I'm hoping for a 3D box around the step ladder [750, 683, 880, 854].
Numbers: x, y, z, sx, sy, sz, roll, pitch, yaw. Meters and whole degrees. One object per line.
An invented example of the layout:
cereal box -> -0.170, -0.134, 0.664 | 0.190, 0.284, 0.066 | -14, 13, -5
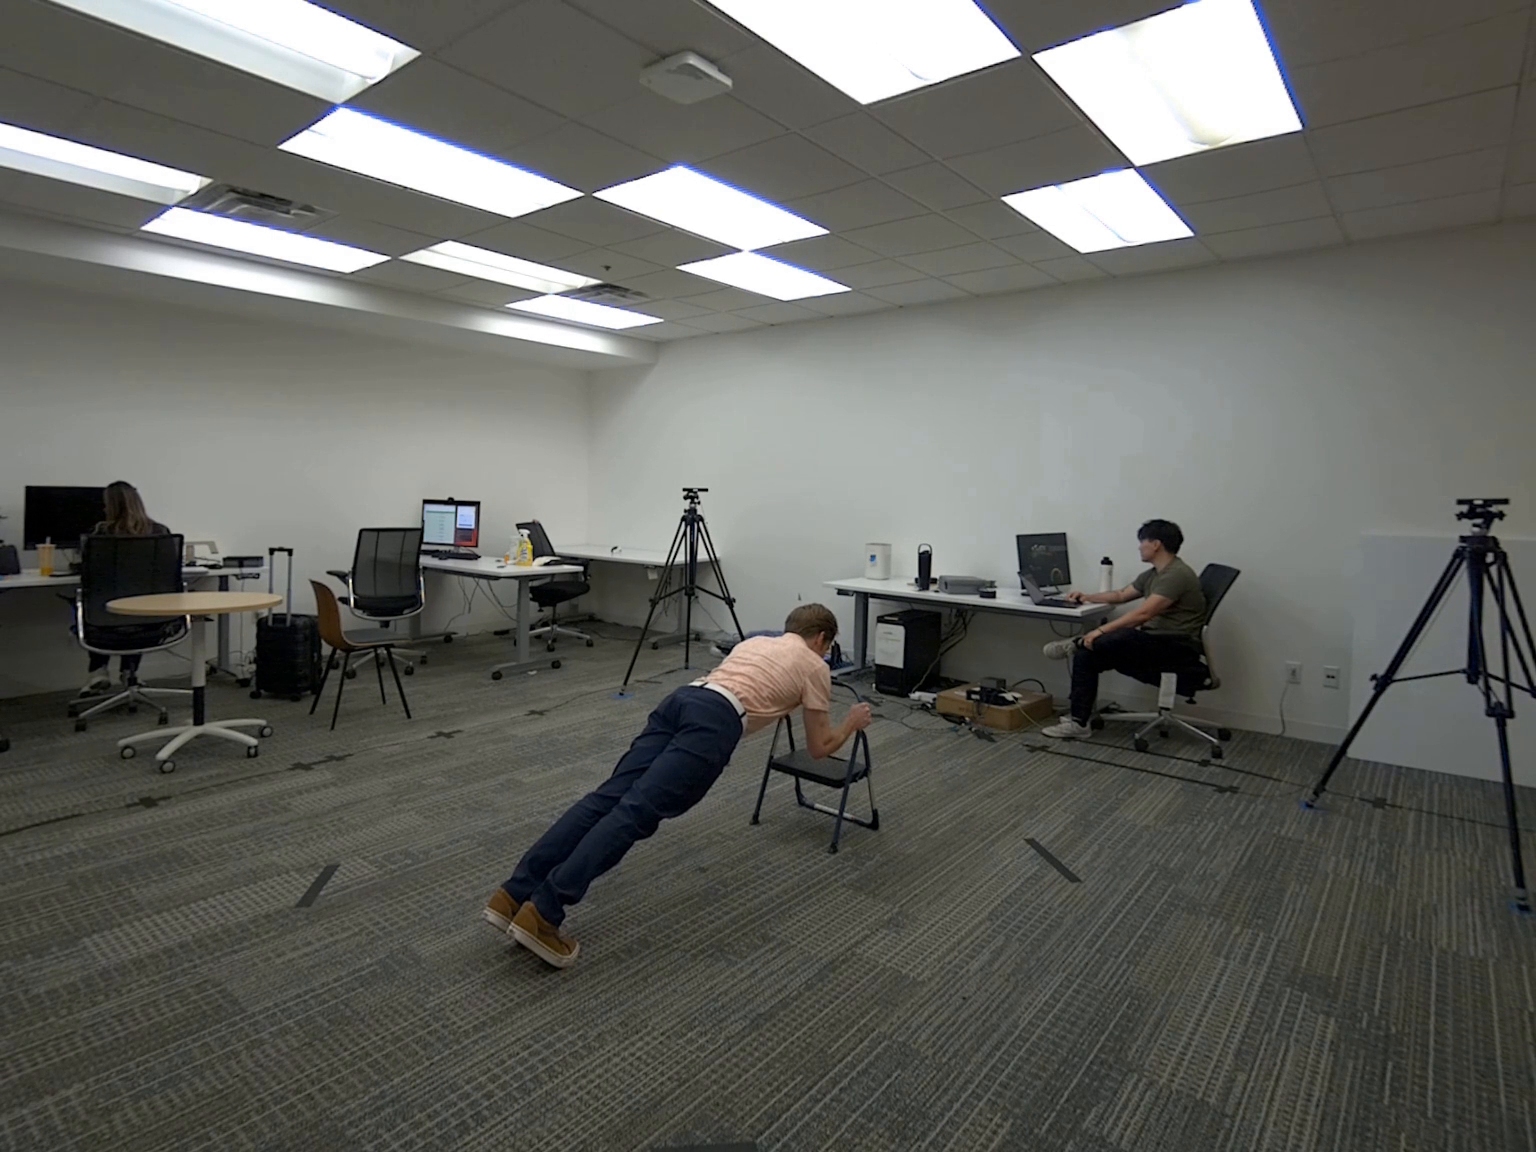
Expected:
step ladder -> 0.195, 0.737, 3.524 | 0.445, 0.604, 0.338 | 4, 4, 40
